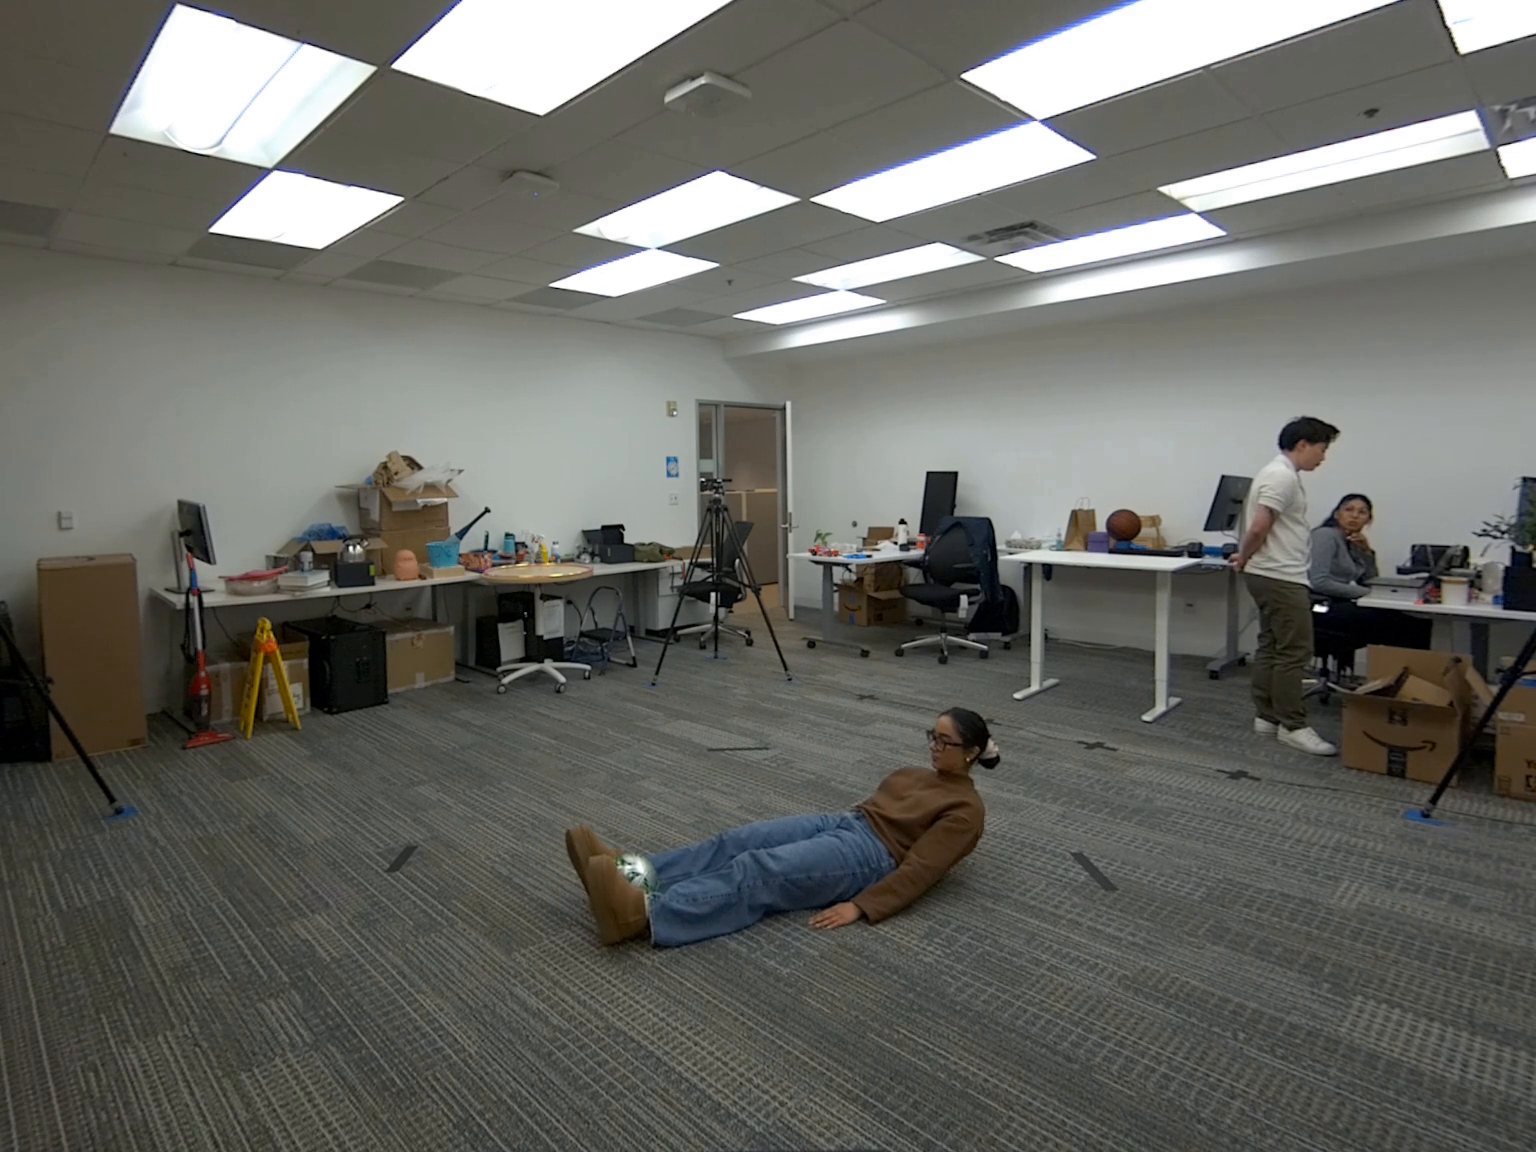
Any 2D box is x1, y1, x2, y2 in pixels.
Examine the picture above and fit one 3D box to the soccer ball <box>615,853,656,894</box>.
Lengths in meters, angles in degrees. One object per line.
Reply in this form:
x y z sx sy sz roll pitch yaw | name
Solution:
-0.439 0.982 2.715 0.187 0.187 0.188 -1 5 -2 | soccer ball
